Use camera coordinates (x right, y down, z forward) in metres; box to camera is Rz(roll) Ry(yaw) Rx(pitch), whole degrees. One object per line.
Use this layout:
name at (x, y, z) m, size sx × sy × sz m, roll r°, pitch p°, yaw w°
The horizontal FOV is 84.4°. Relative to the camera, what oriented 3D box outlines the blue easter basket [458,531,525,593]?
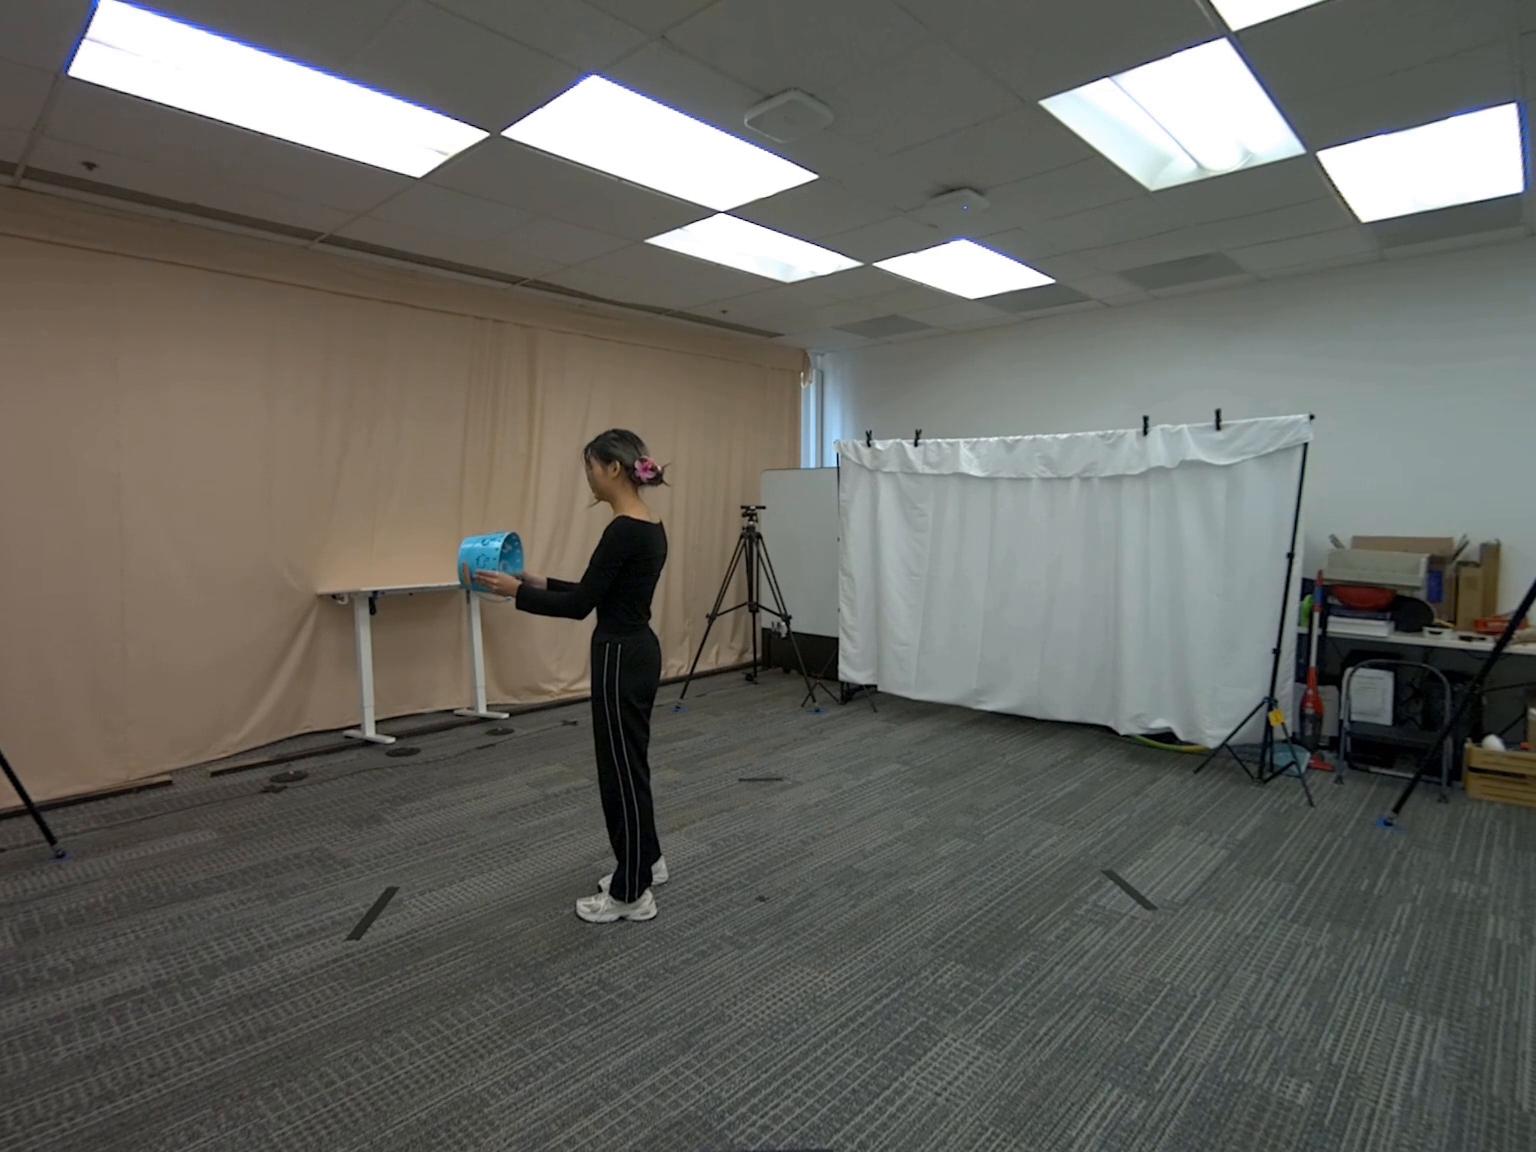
blue easter basket at (-0.941, -0.037, 2.855) m, size 0.157 × 0.243 × 0.242 m, roll 3°, pitch 4°, yaw 7°
